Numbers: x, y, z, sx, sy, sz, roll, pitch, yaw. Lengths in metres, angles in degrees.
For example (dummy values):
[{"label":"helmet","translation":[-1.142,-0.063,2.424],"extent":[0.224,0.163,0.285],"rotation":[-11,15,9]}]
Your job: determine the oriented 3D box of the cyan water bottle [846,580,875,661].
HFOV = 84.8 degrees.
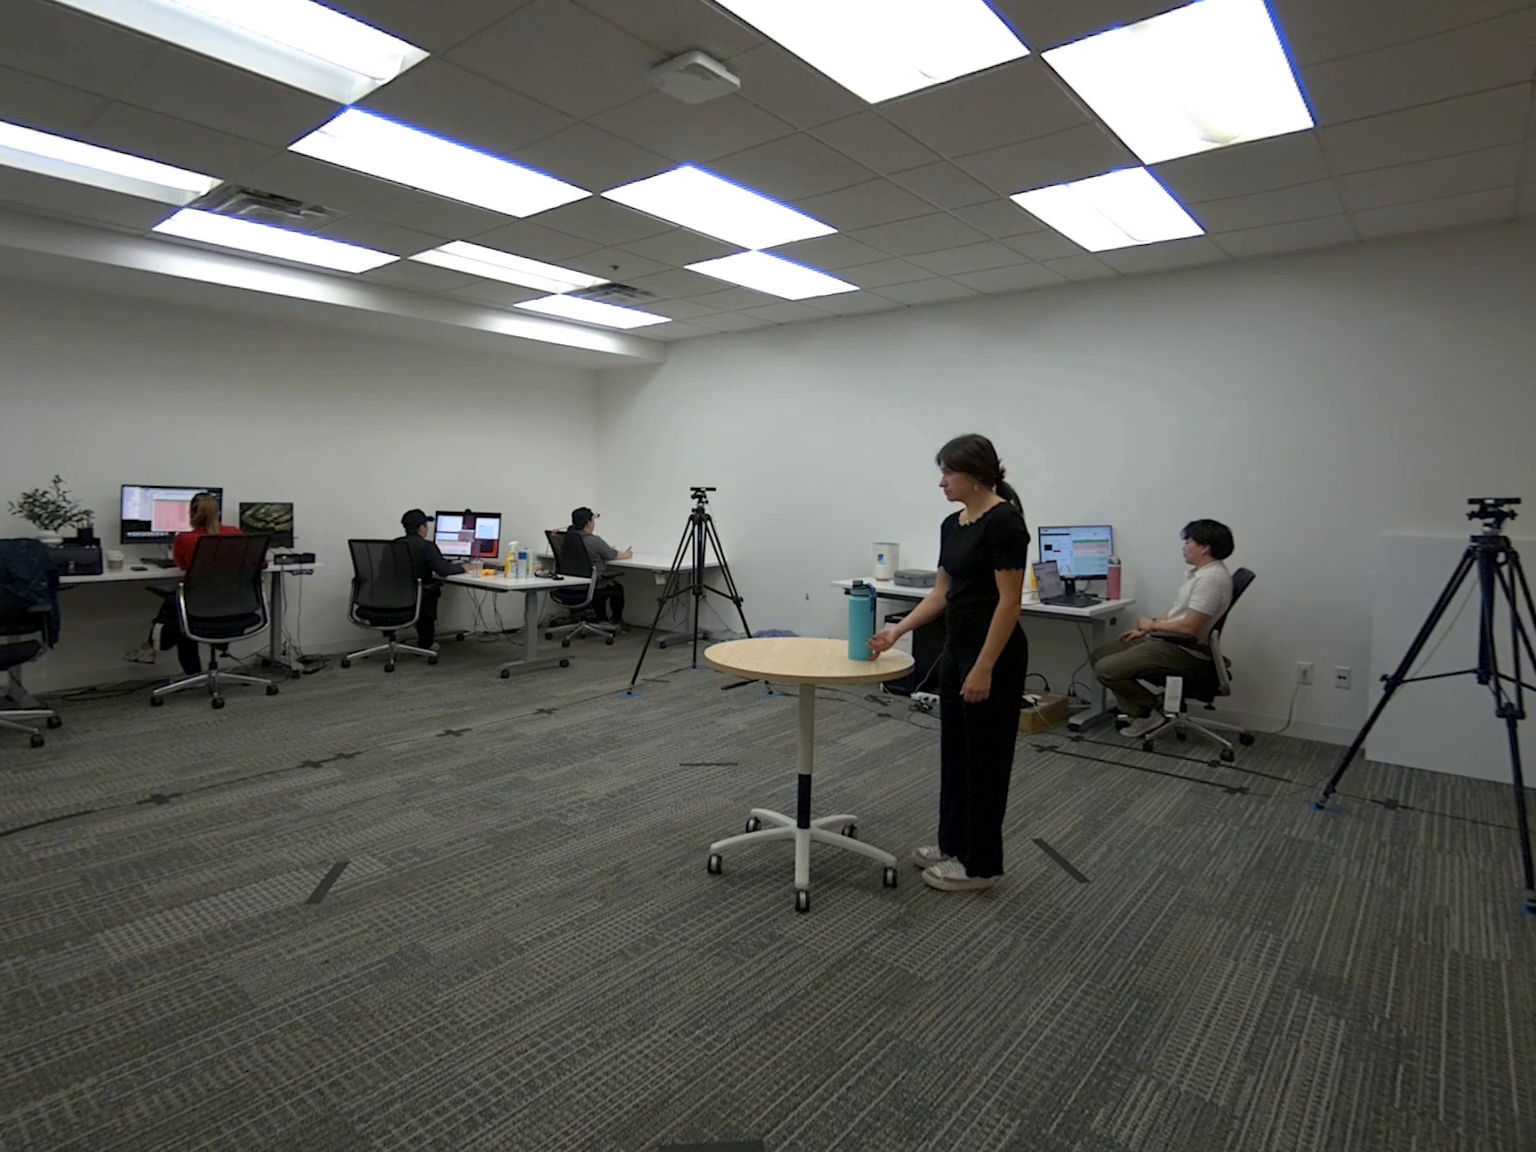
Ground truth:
[{"label":"cyan water bottle","translation":[0.336,0.156,3.064],"extent":[0.092,0.282,0.093],"rotation":[4,4,-2]}]
